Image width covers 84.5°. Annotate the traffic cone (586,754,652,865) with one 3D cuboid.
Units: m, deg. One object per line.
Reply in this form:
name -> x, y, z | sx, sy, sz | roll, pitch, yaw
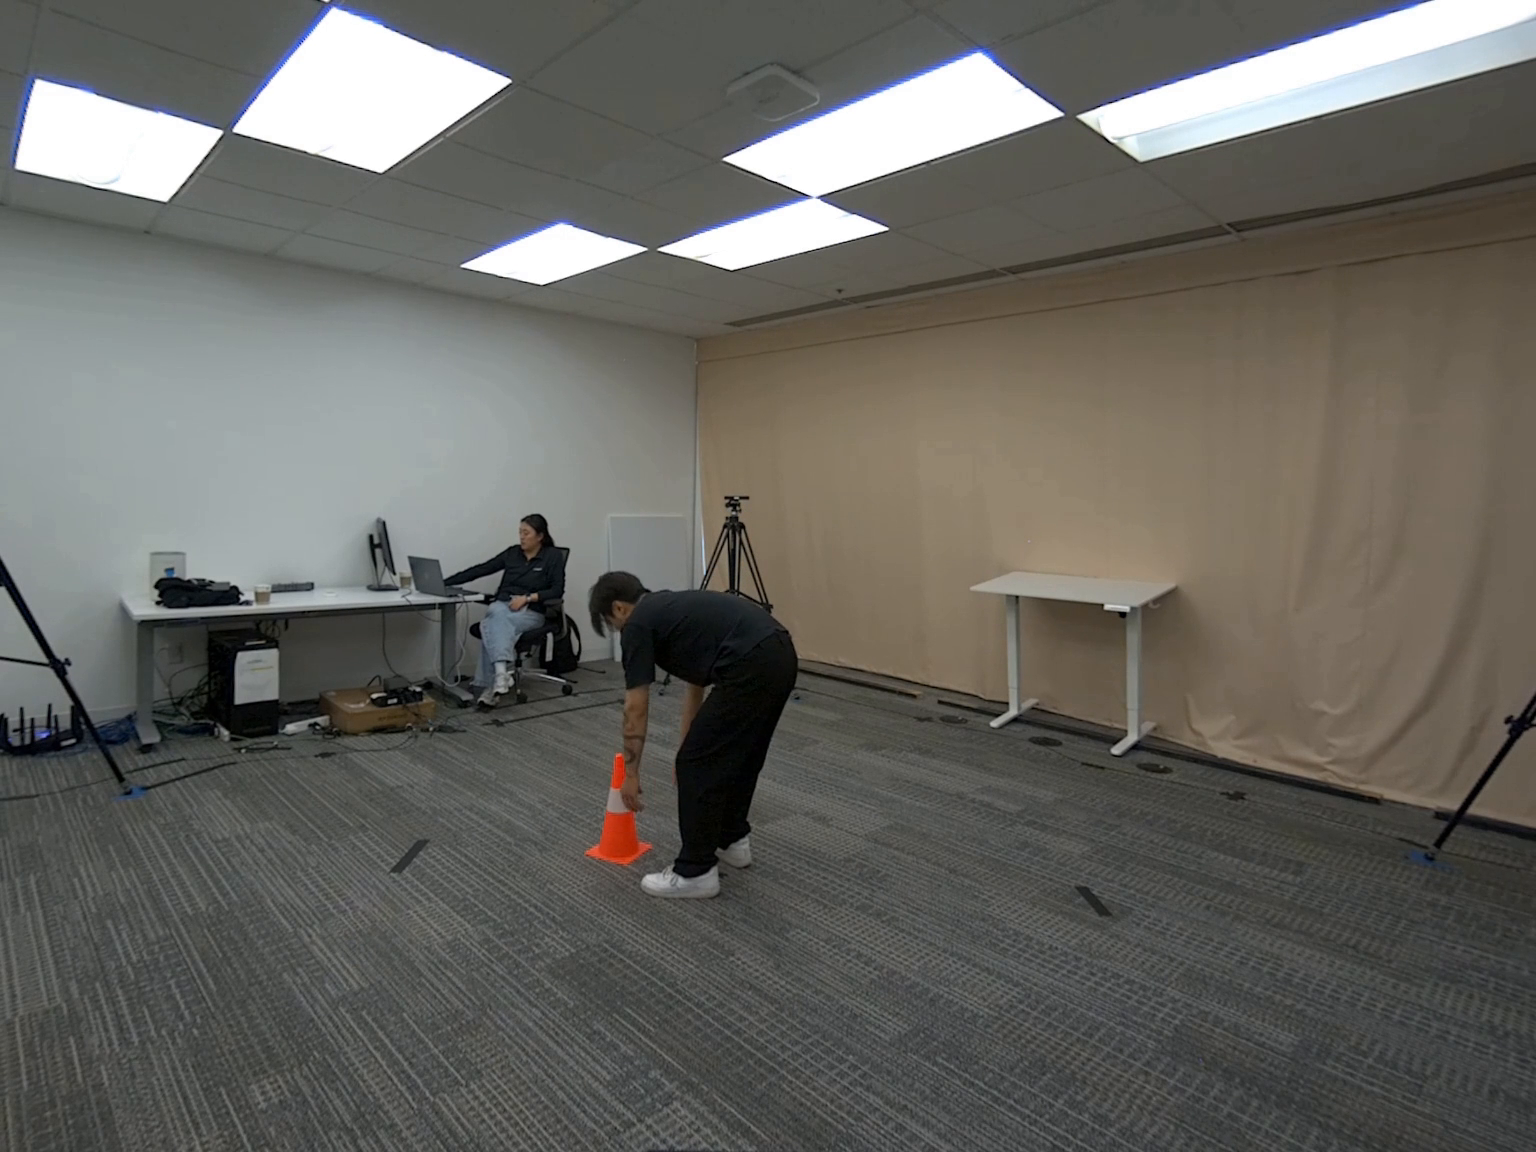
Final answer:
traffic cone -> -0.584, 0.885, 3.287 | 0.209, 0.382, 0.200 | 3, 5, 25
